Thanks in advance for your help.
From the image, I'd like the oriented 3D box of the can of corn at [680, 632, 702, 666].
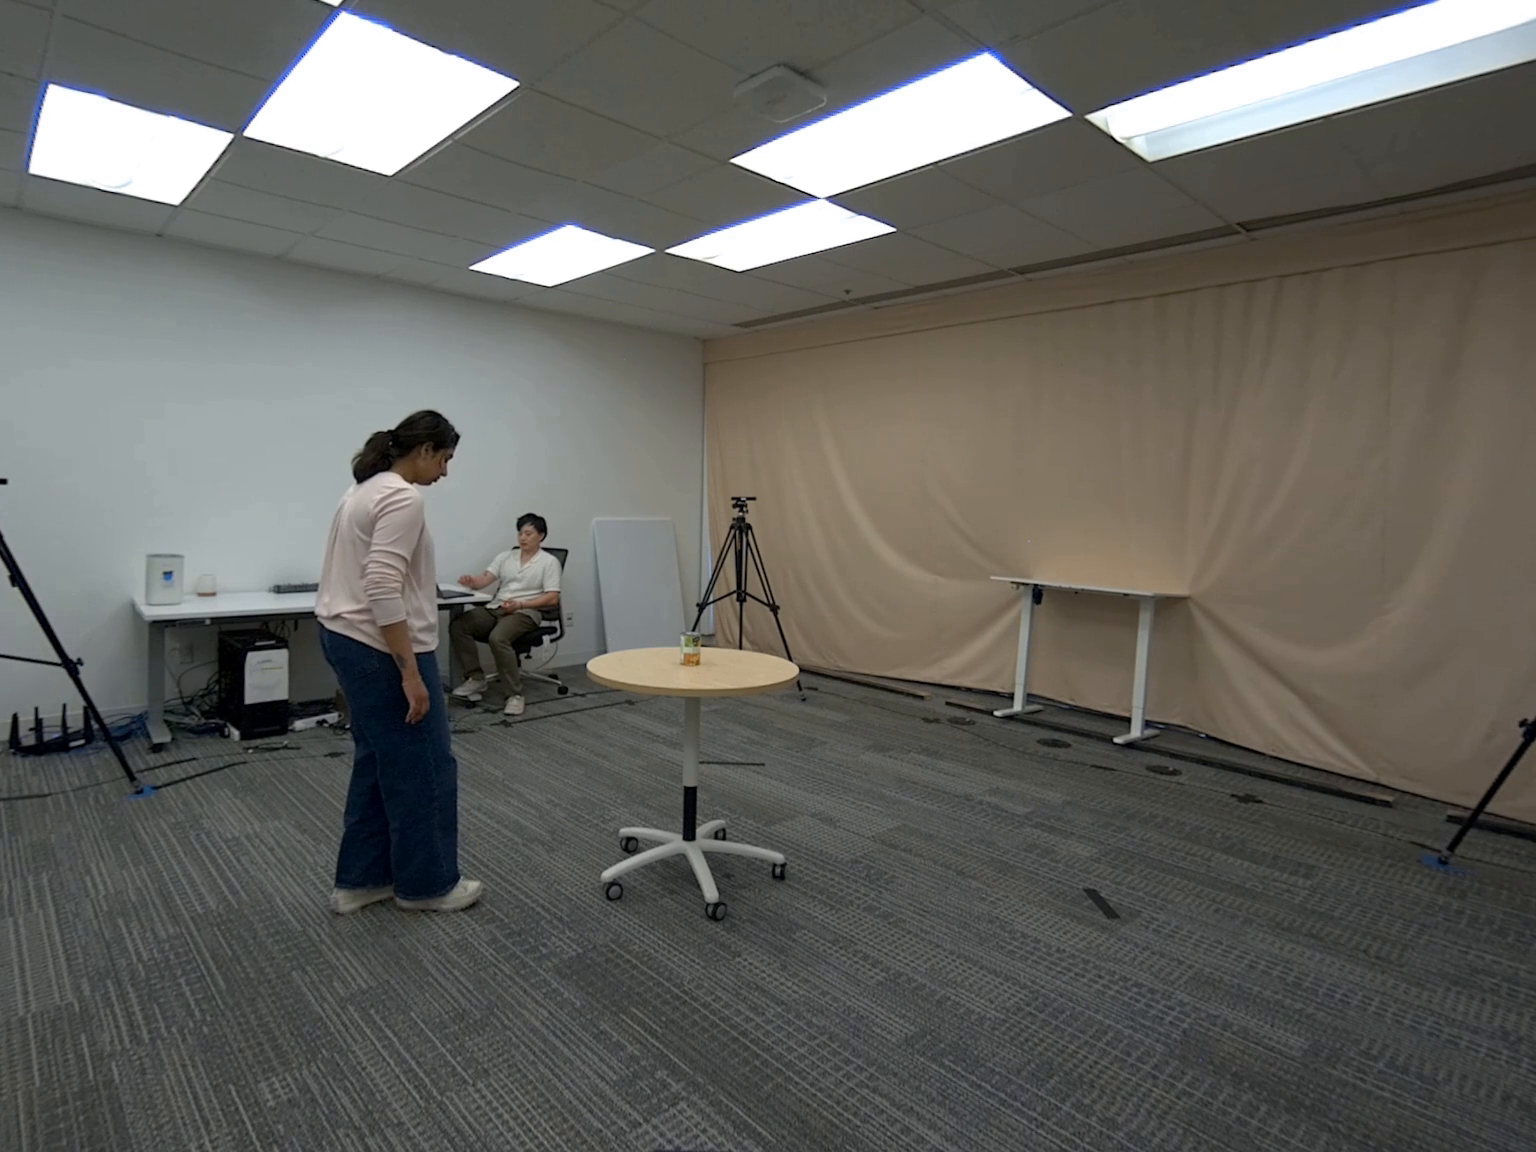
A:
[{"bbox_3d":[-0.291,0.268,3.070,0.074,0.110,0.074,1,5,-2],"label":"can of corn"}]
